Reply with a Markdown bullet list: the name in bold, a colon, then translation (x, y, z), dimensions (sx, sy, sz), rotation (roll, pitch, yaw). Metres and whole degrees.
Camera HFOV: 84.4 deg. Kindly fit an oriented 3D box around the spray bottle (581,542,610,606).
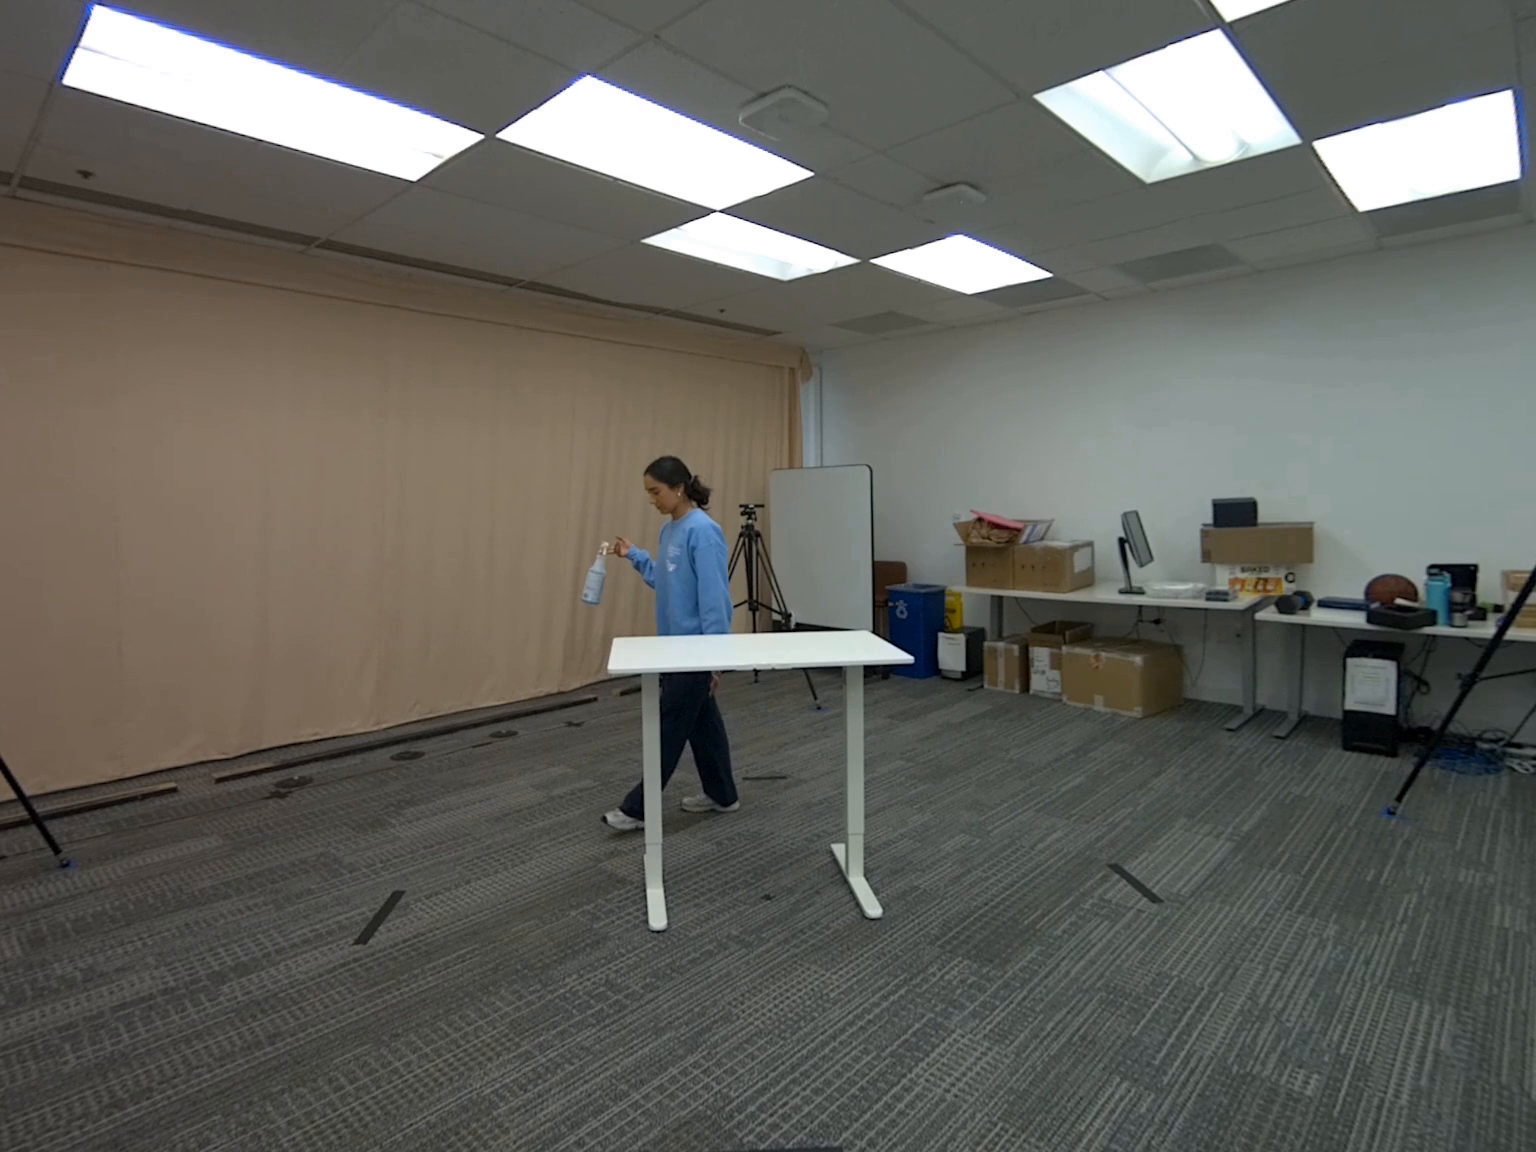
- **spray bottle**: translation (-0.788, -0.012, 3.948), dimensions (0.088, 0.297, 0.089), rotation (14, 4, 5)
